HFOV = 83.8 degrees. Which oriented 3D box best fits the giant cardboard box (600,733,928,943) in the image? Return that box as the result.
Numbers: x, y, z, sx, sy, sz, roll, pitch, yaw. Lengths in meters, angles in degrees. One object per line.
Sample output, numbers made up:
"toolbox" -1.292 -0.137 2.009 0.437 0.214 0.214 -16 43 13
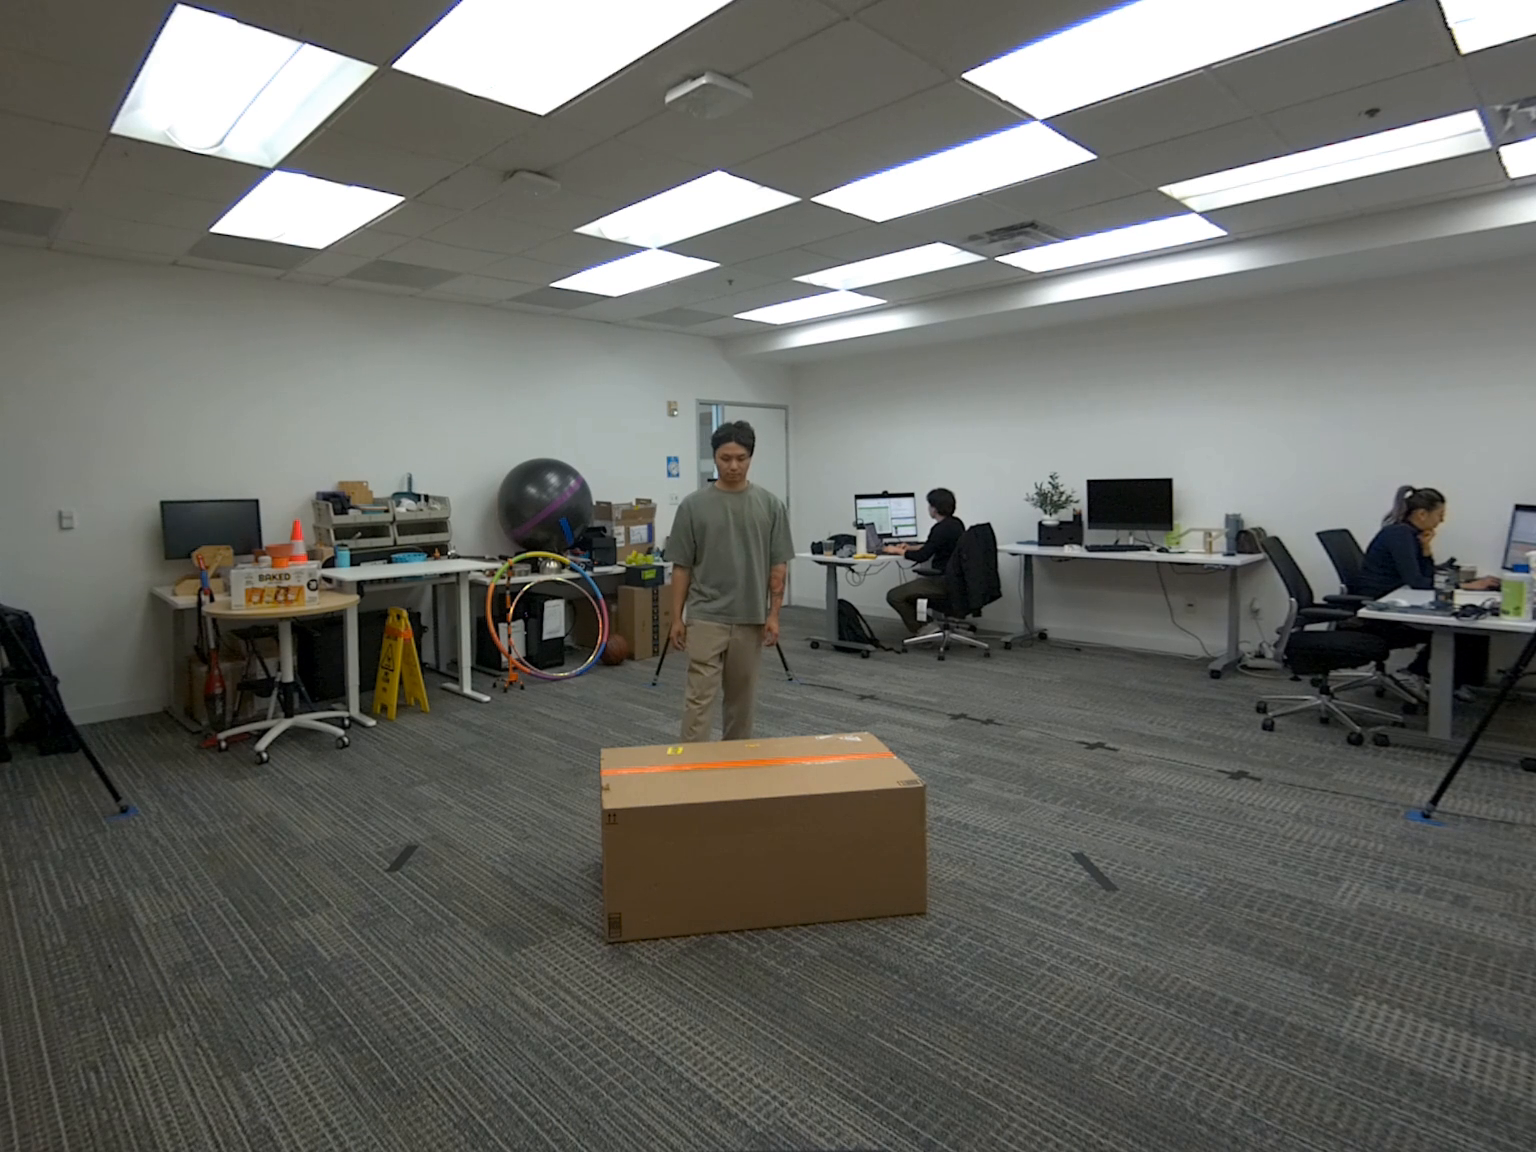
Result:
"giant cardboard box" -0.052 0.848 2.916 1.017 0.425 0.585 -2 5 -9
